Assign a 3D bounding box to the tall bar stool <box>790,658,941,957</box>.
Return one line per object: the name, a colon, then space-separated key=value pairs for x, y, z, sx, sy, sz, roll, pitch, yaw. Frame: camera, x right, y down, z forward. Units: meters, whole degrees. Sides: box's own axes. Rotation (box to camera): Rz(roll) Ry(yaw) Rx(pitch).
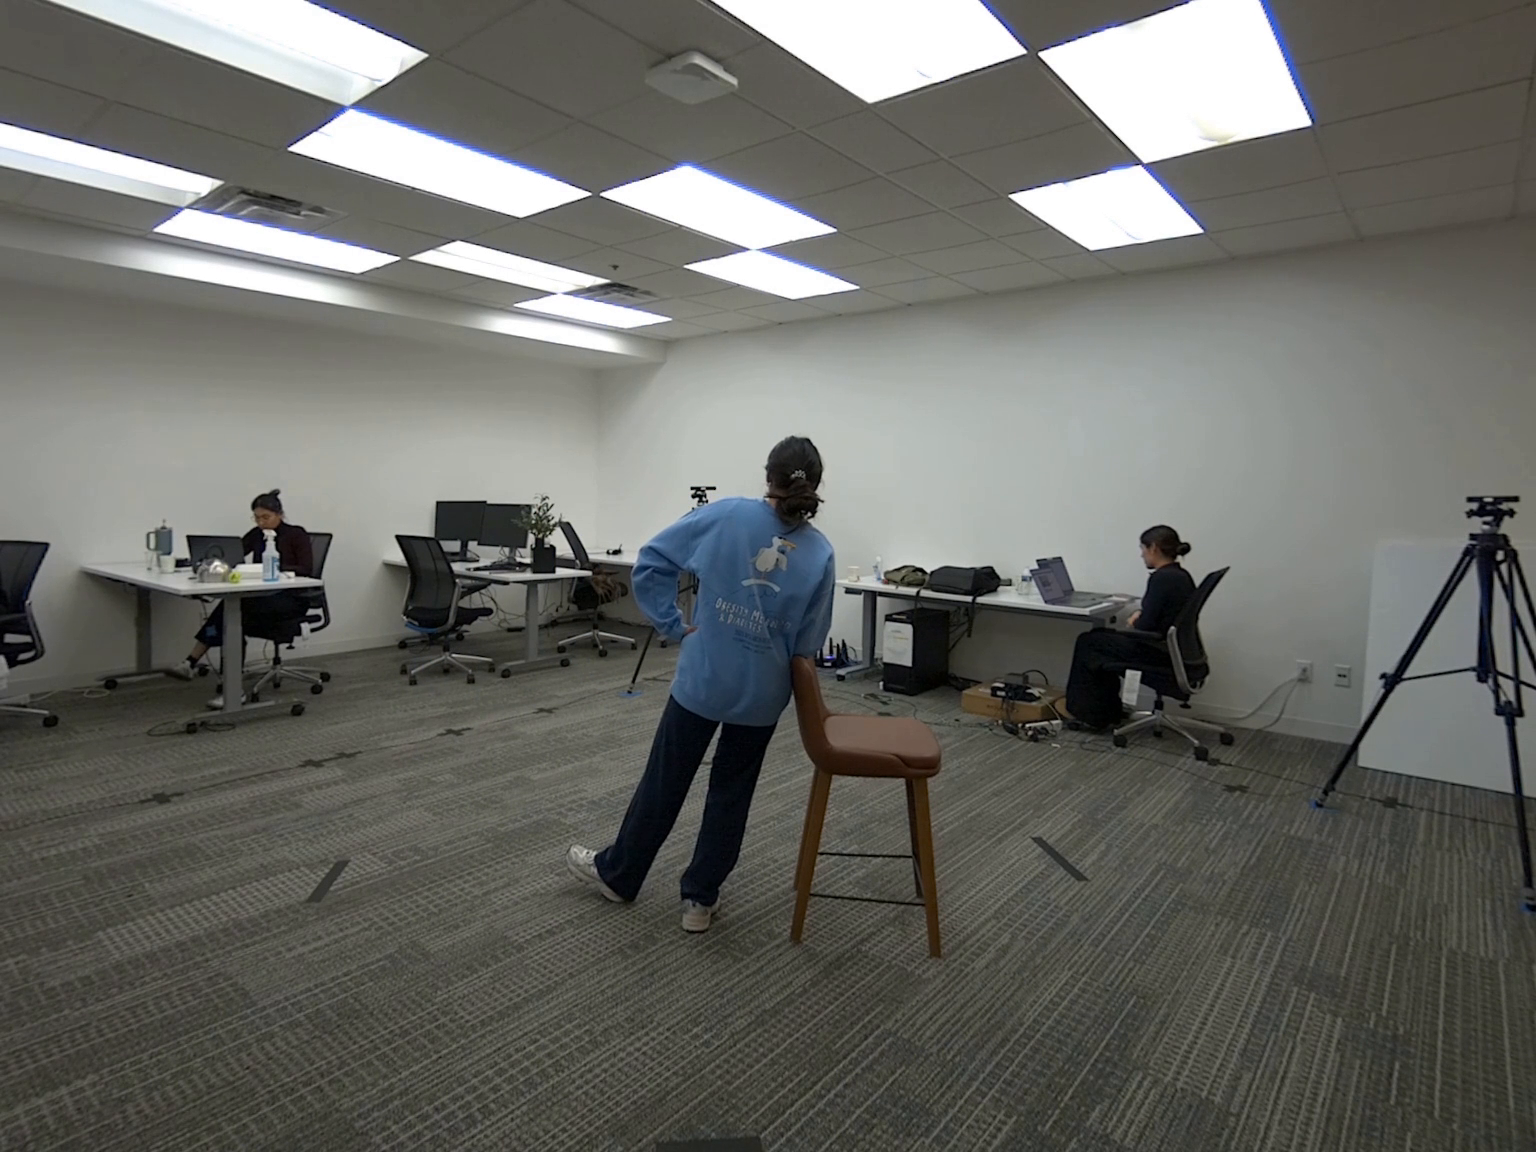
tall bar stool: x=0.305 y=0.677 z=2.745 sx=0.471 sy=0.887 sz=0.454 roll=0 pitch=3 yaw=6
